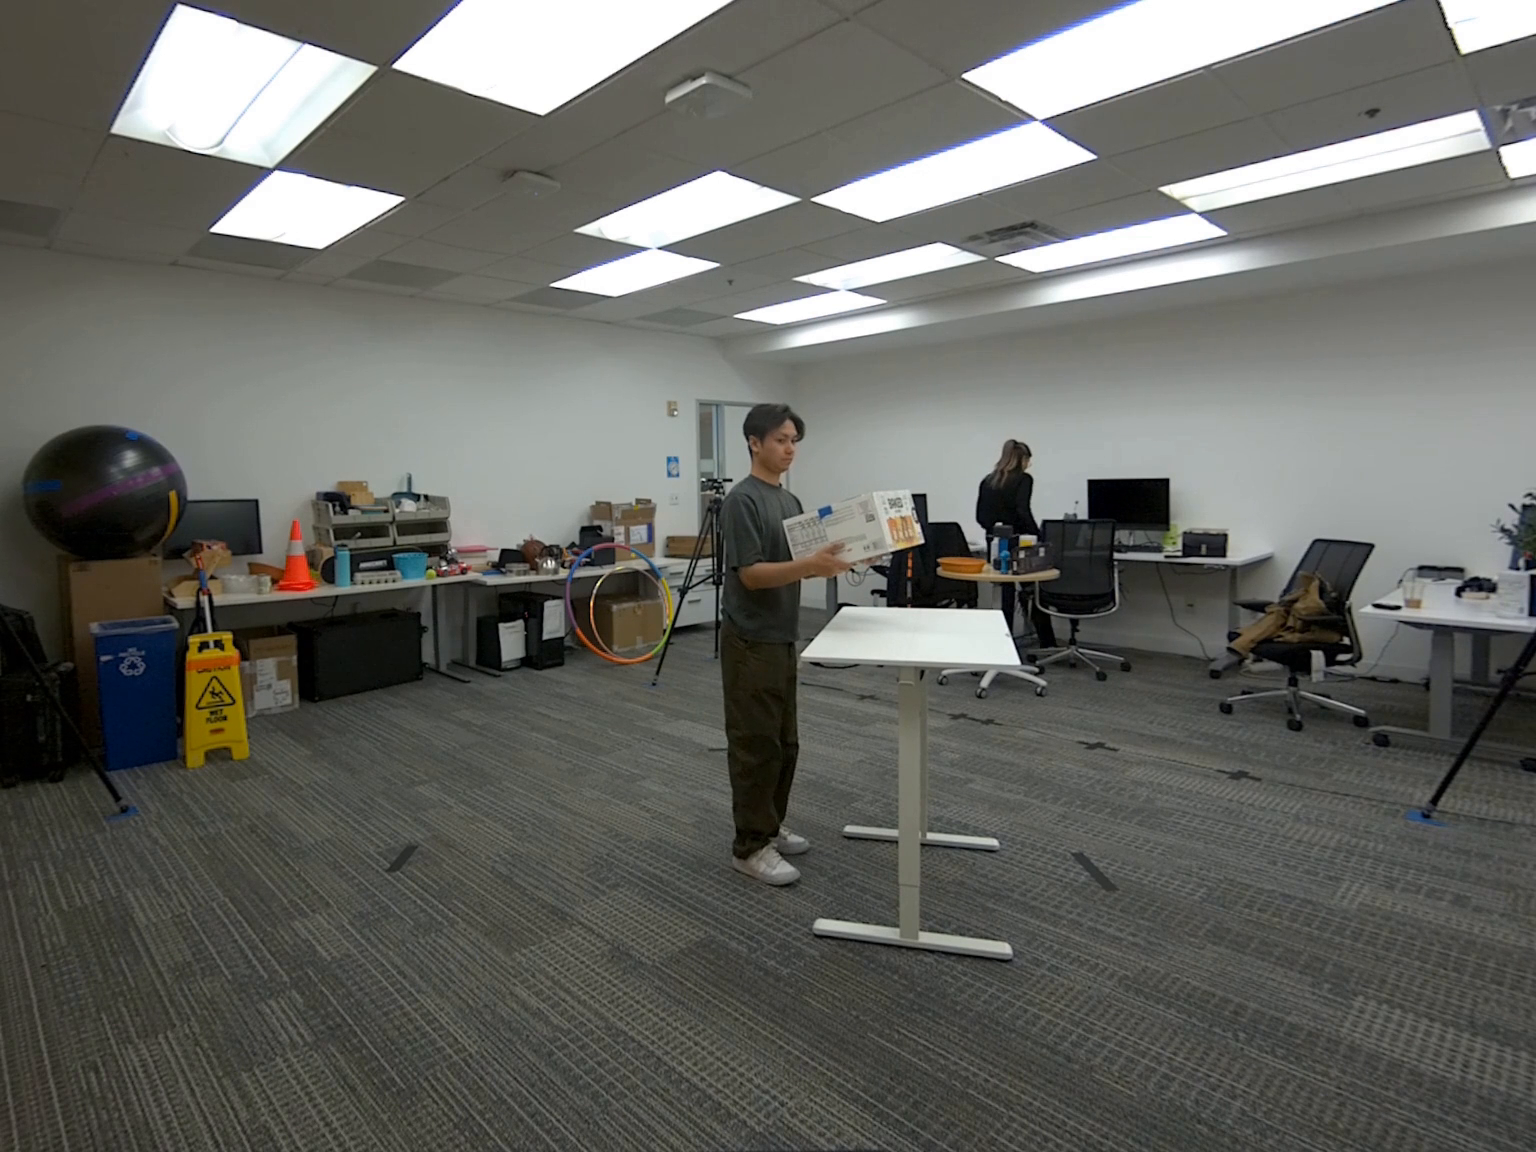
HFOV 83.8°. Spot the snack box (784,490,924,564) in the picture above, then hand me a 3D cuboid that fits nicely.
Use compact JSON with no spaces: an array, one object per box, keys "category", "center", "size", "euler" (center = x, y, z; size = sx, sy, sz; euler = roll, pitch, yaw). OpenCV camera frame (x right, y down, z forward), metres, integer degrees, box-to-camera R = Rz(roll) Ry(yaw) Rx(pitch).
[{"category":"snack box","center":[0.305,-0.155,2.999],"size":[0.346,0.206,0.397],"euler":[-17,-2,28]}]
